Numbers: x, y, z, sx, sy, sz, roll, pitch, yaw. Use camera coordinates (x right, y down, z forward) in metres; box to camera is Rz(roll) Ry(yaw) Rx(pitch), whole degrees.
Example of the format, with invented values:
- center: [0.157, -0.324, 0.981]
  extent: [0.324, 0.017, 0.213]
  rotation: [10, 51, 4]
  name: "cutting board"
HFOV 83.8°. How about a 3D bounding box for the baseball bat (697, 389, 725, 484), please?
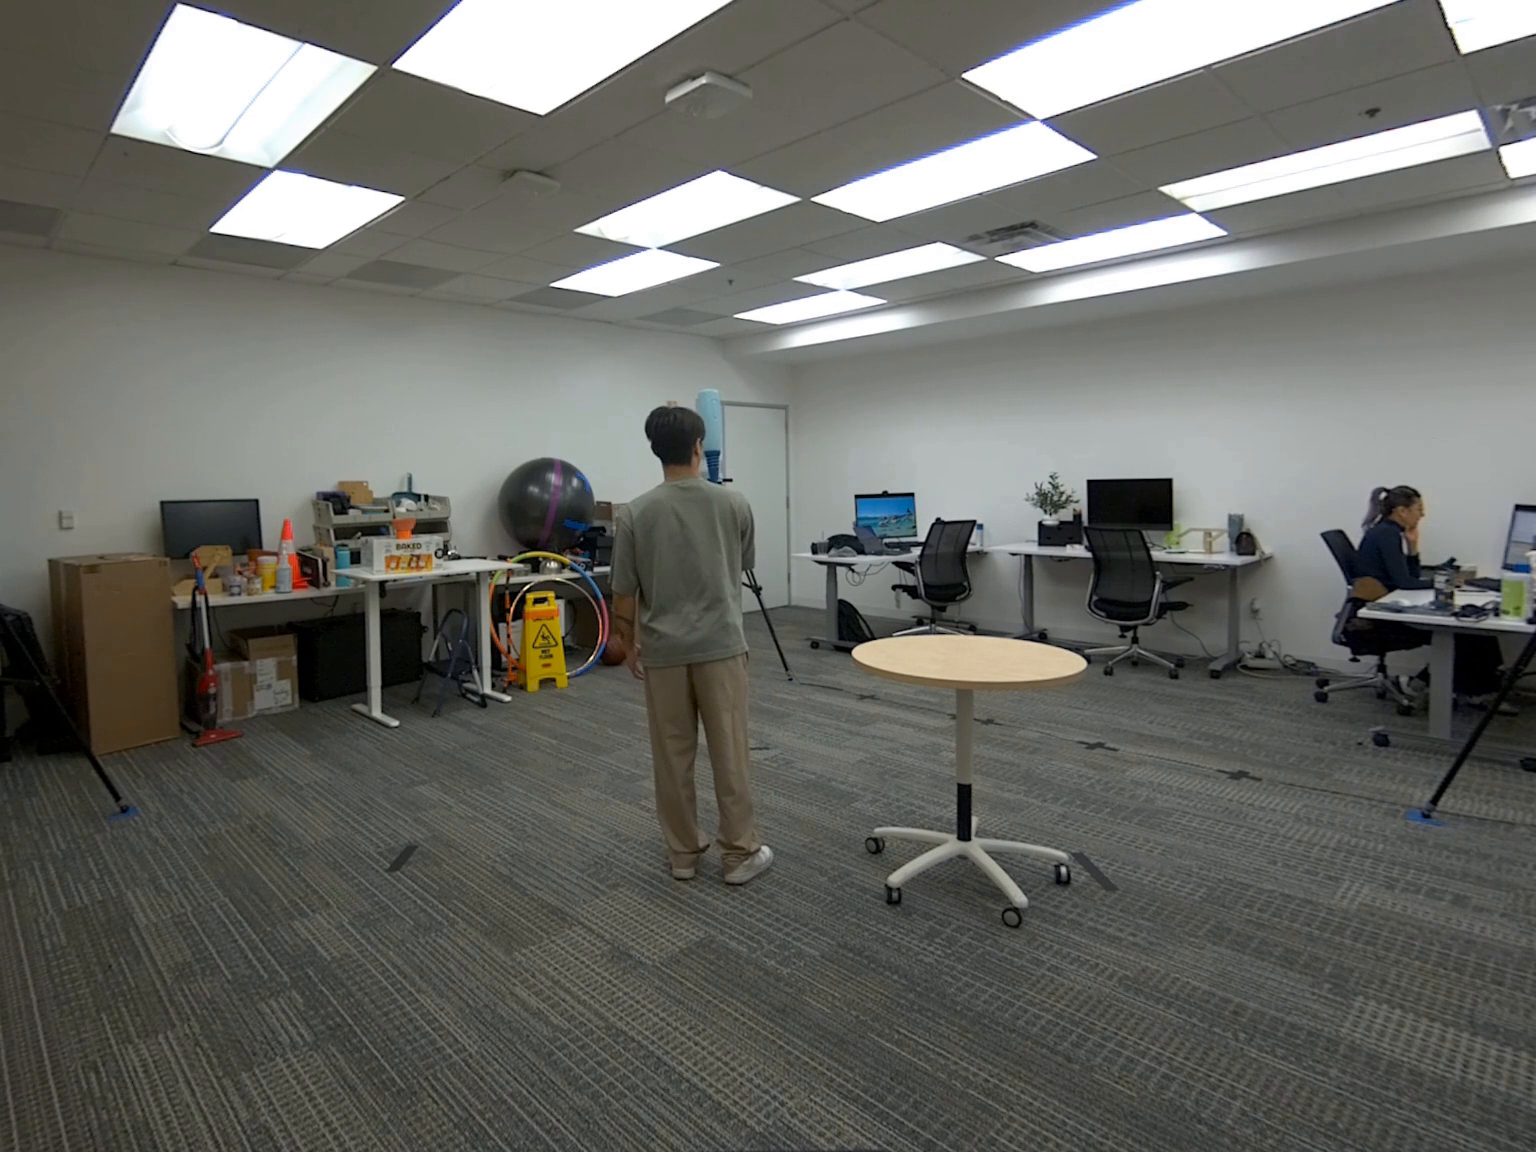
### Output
- center: [-0.224, -0.481, 3.431]
  extent: [0.089, 0.545, 0.089]
  rotation: [-3, -4, -2]
  name: "baseball bat"
